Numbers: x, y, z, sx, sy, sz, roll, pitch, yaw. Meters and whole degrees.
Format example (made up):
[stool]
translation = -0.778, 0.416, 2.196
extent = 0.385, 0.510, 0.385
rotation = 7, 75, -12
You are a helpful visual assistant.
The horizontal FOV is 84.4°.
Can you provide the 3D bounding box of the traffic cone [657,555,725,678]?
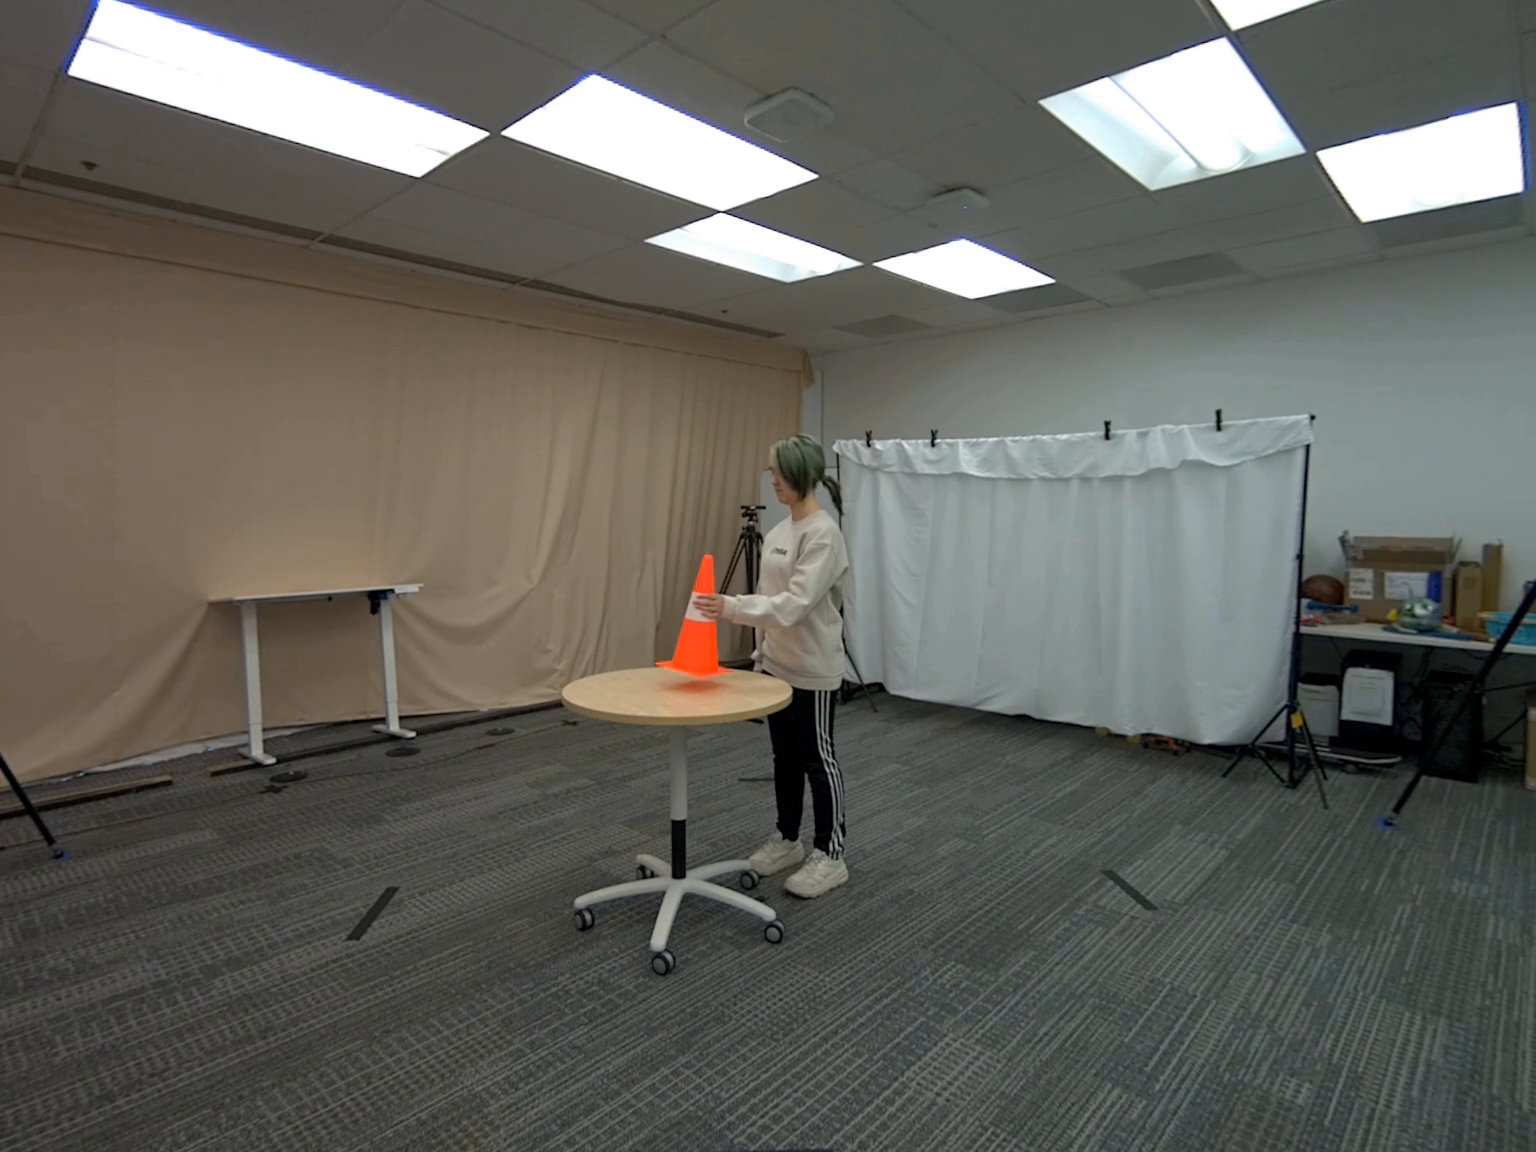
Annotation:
[traffic cone]
translation = -0.219, 0.115, 2.819
extent = 0.211, 0.383, 0.197
rotation = 8, 2, 30
